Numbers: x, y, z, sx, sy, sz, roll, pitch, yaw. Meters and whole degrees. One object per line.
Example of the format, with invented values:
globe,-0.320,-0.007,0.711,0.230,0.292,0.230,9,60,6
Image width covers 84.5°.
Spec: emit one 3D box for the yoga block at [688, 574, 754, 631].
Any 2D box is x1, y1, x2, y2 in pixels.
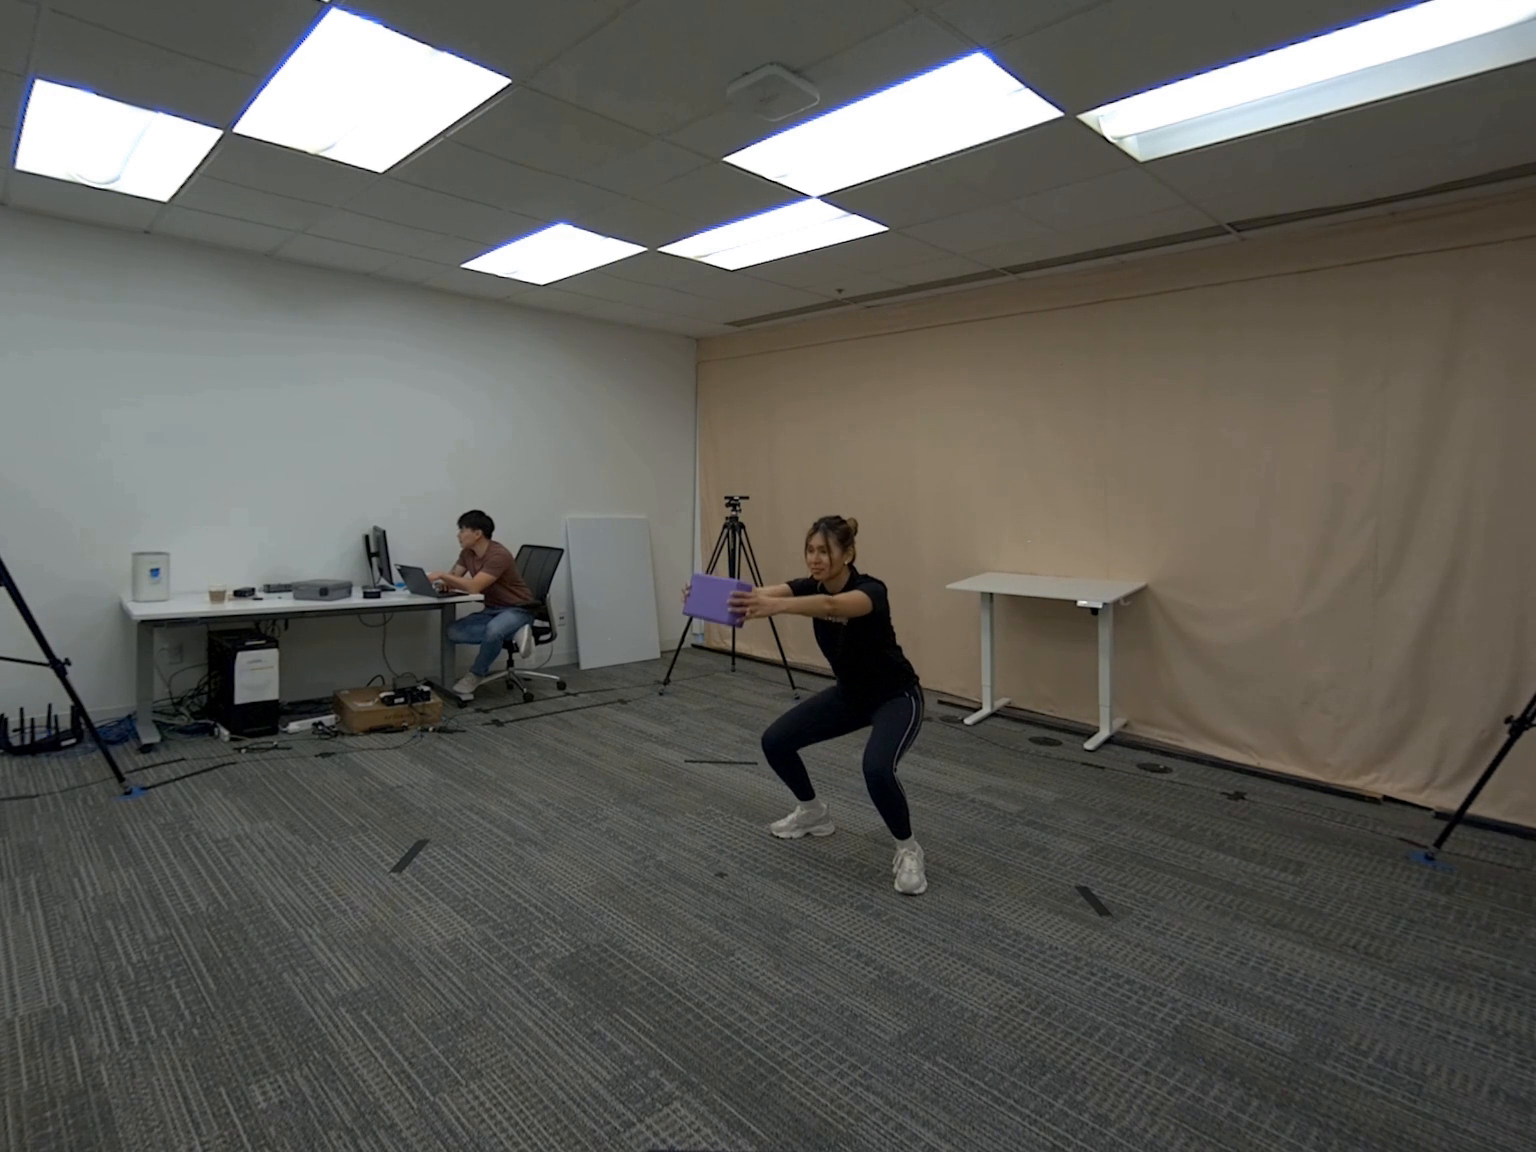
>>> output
yoga block,-0.157,0.082,2.762,0.074,0.149,0.235,12,-2,-35
